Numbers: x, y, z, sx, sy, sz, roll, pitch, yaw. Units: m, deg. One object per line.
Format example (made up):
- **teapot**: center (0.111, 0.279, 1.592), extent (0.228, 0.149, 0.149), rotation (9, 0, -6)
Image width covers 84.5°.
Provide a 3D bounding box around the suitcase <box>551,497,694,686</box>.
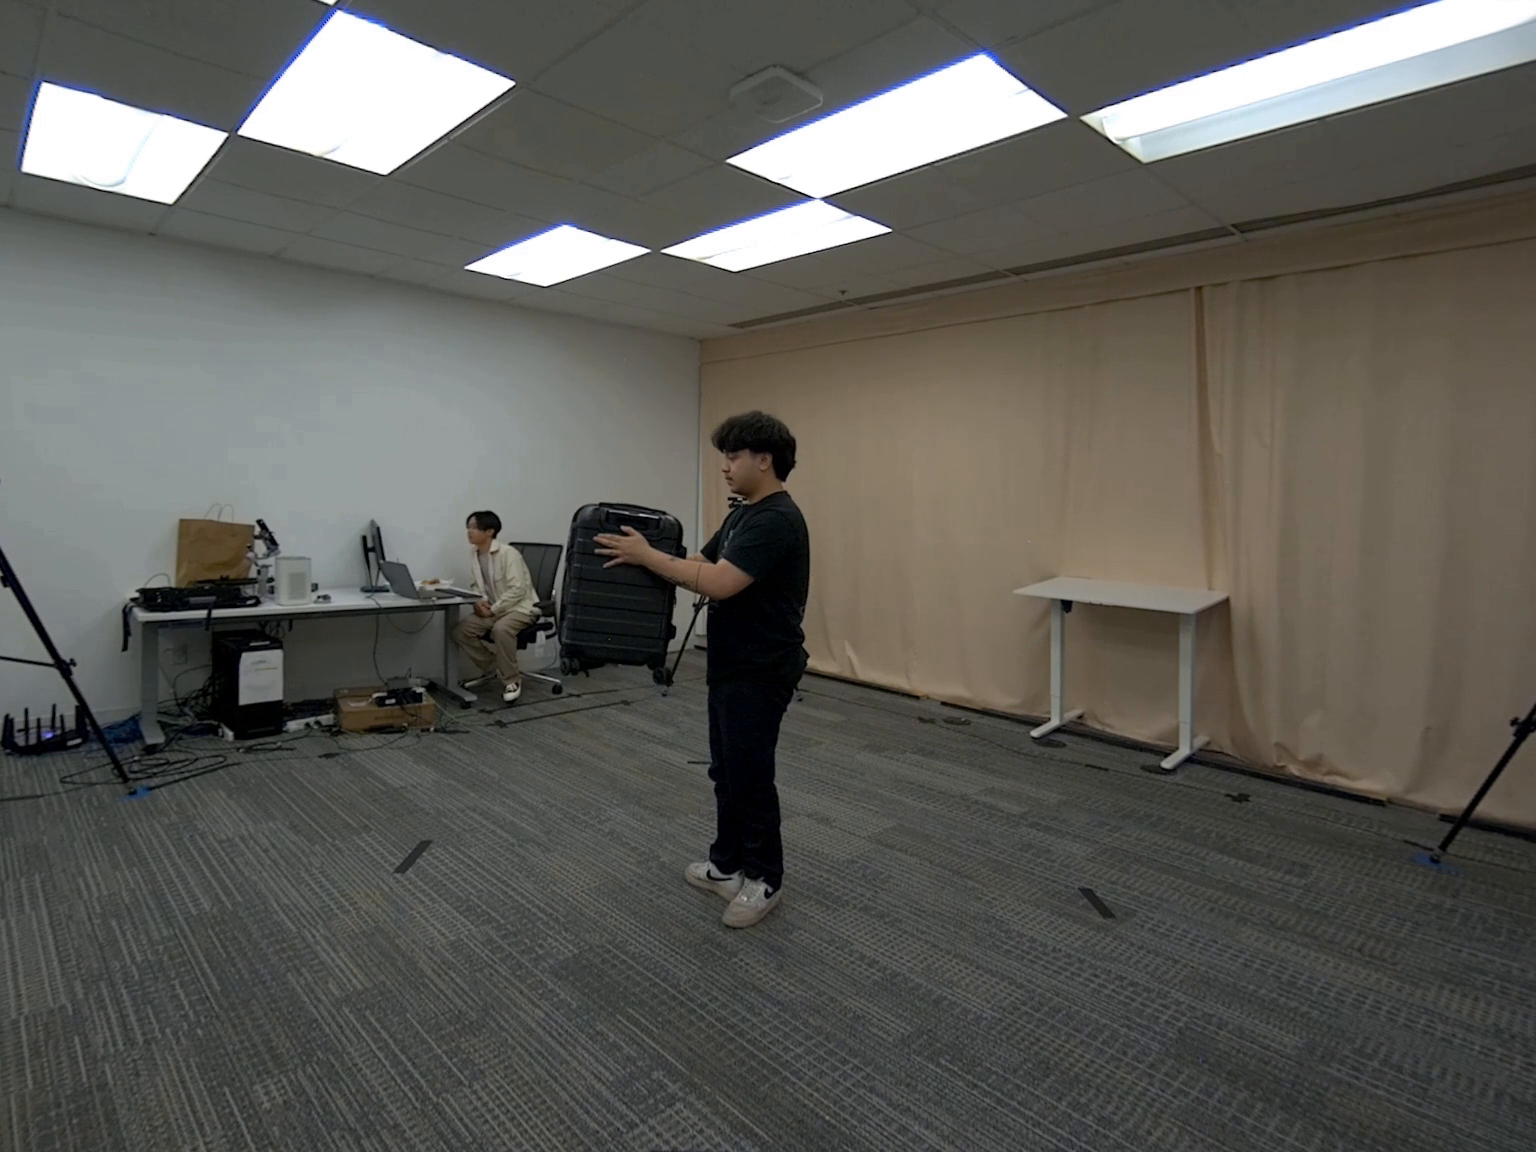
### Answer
- **suitcase**: center (-0.482, 0.042, 2.754), extent (0.371, 0.548, 0.252), rotation (6, 4, -14)
